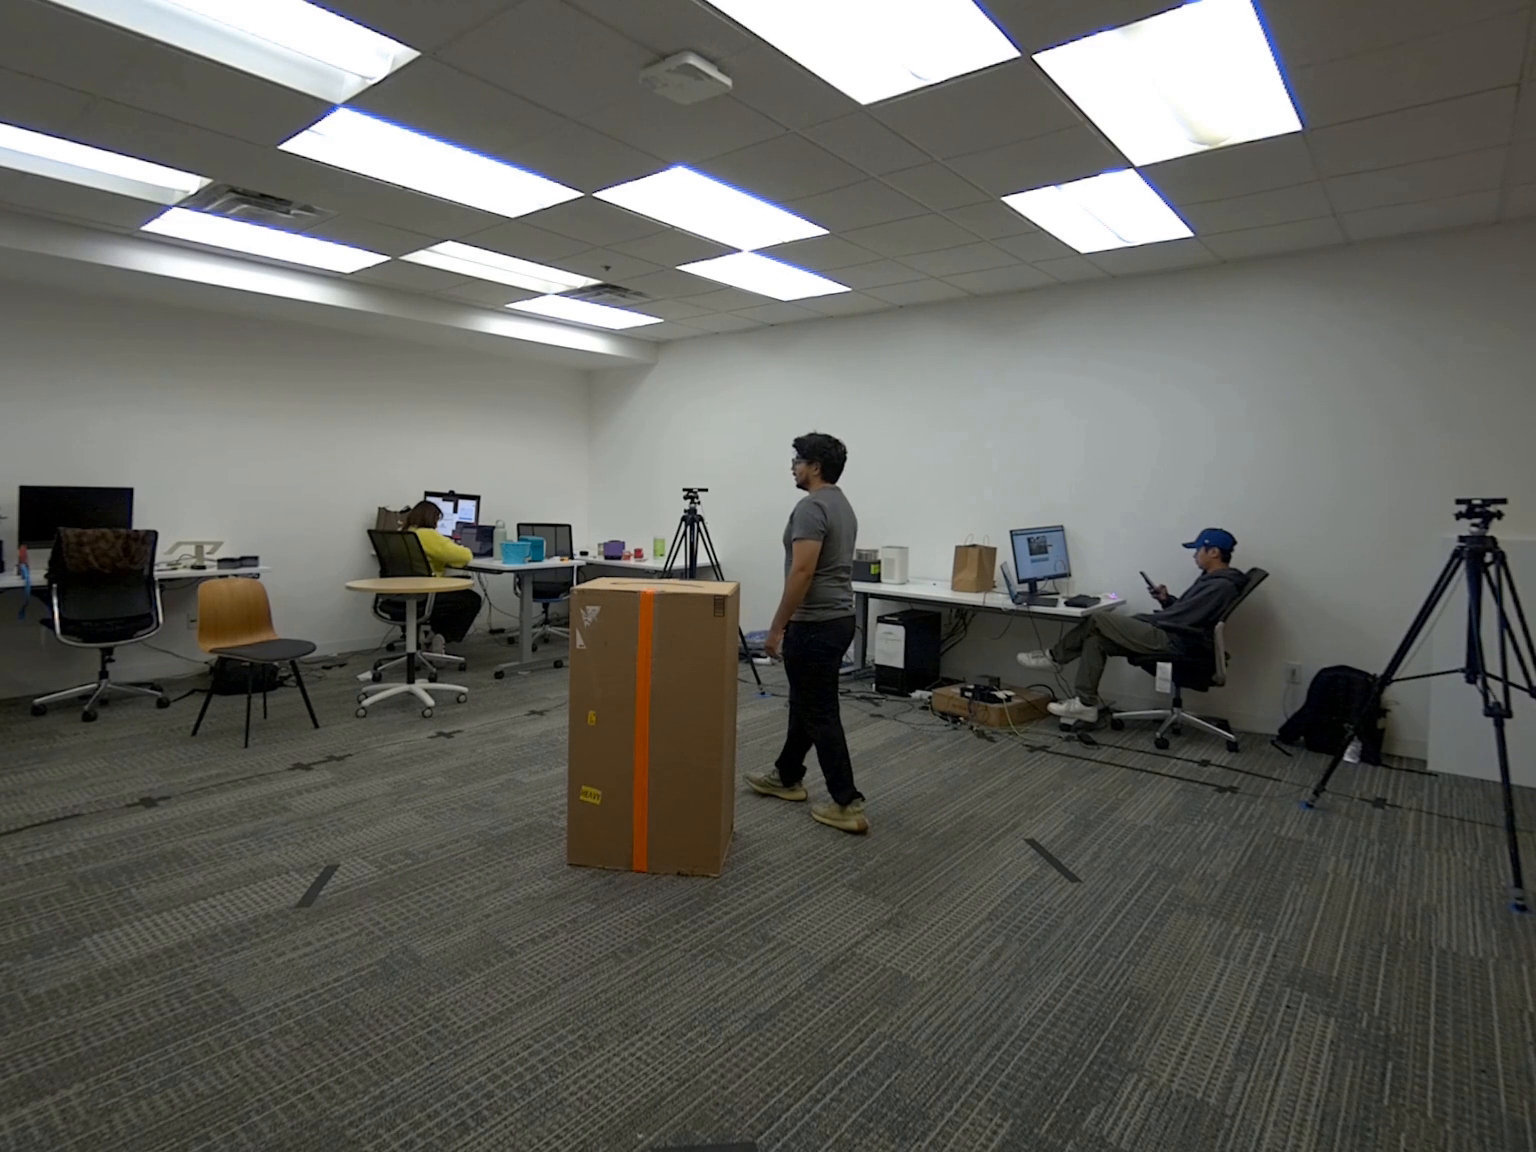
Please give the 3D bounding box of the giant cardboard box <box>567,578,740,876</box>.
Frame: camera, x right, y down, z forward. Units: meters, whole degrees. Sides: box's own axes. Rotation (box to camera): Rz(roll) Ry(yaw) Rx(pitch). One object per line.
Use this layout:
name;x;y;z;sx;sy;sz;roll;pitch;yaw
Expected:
giant cardboard box;-0.435;0.540;3.259;0.583;1.023;0.423;2;3;8
